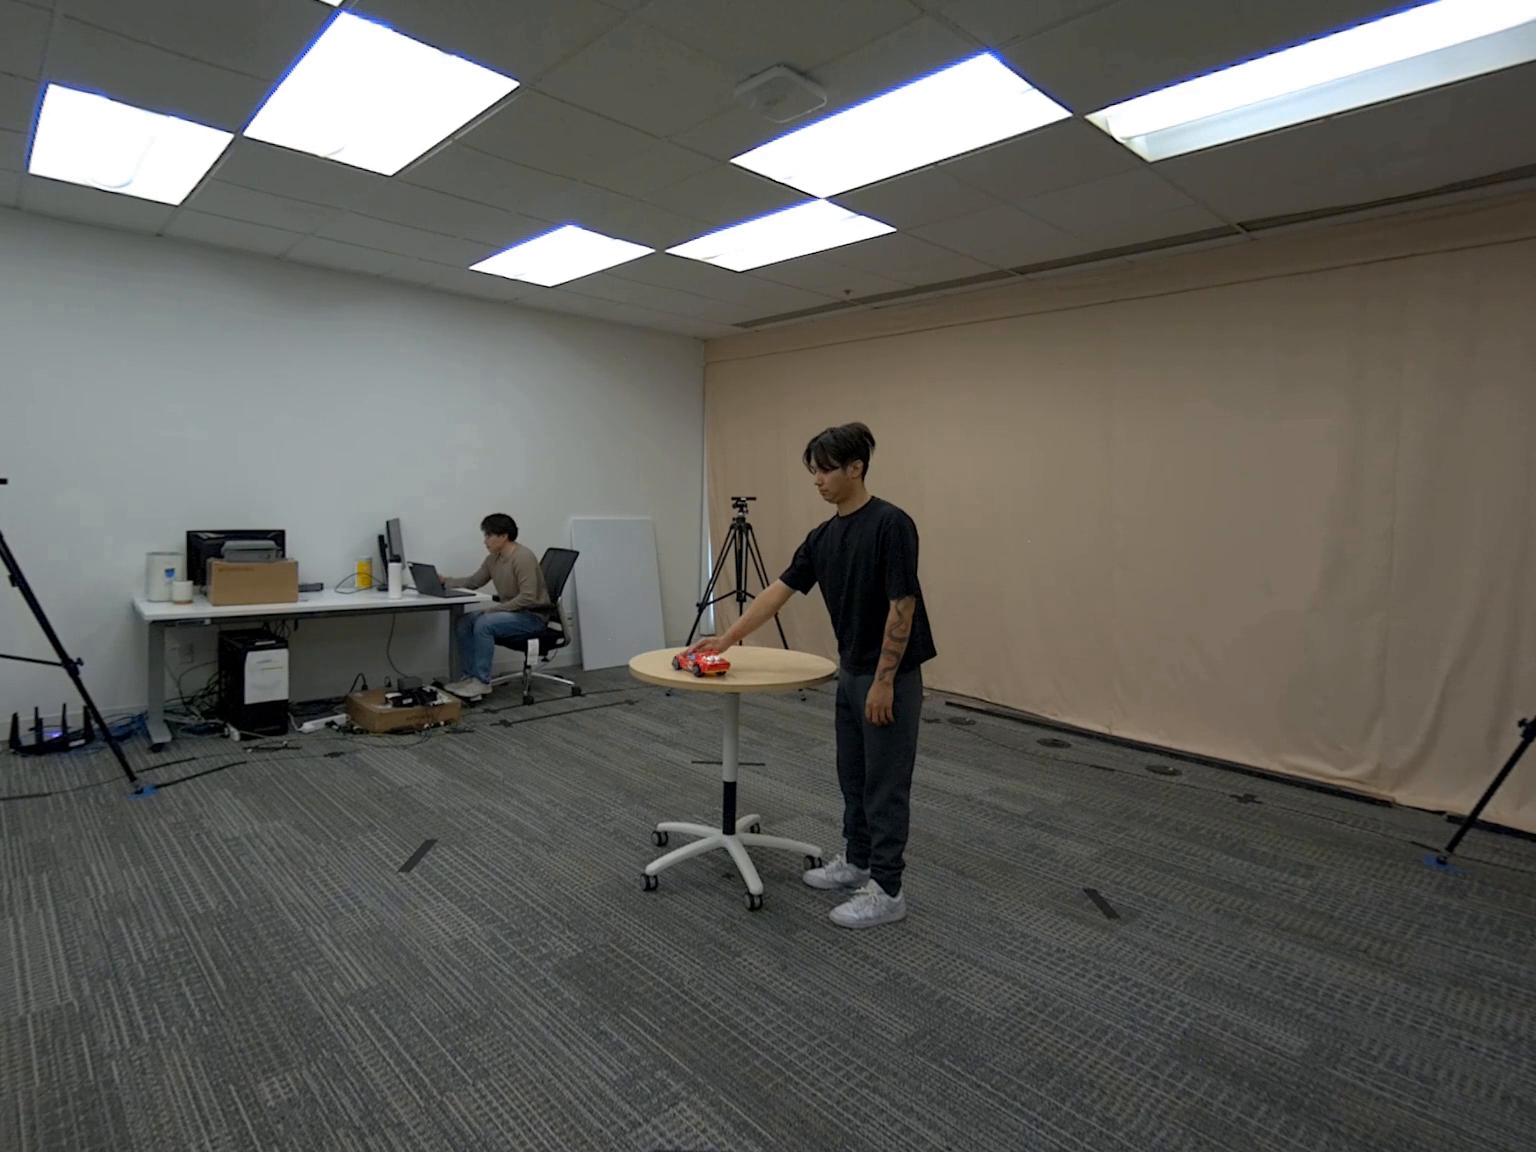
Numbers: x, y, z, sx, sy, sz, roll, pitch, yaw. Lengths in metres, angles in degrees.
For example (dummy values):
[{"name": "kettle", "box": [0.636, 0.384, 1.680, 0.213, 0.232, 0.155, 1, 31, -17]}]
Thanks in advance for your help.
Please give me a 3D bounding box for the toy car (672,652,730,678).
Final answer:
[{"name": "toy car", "box": [-0.226, 0.305, 2.905, 0.127, 0.083, 0.259, -2, -5, -34]}]
